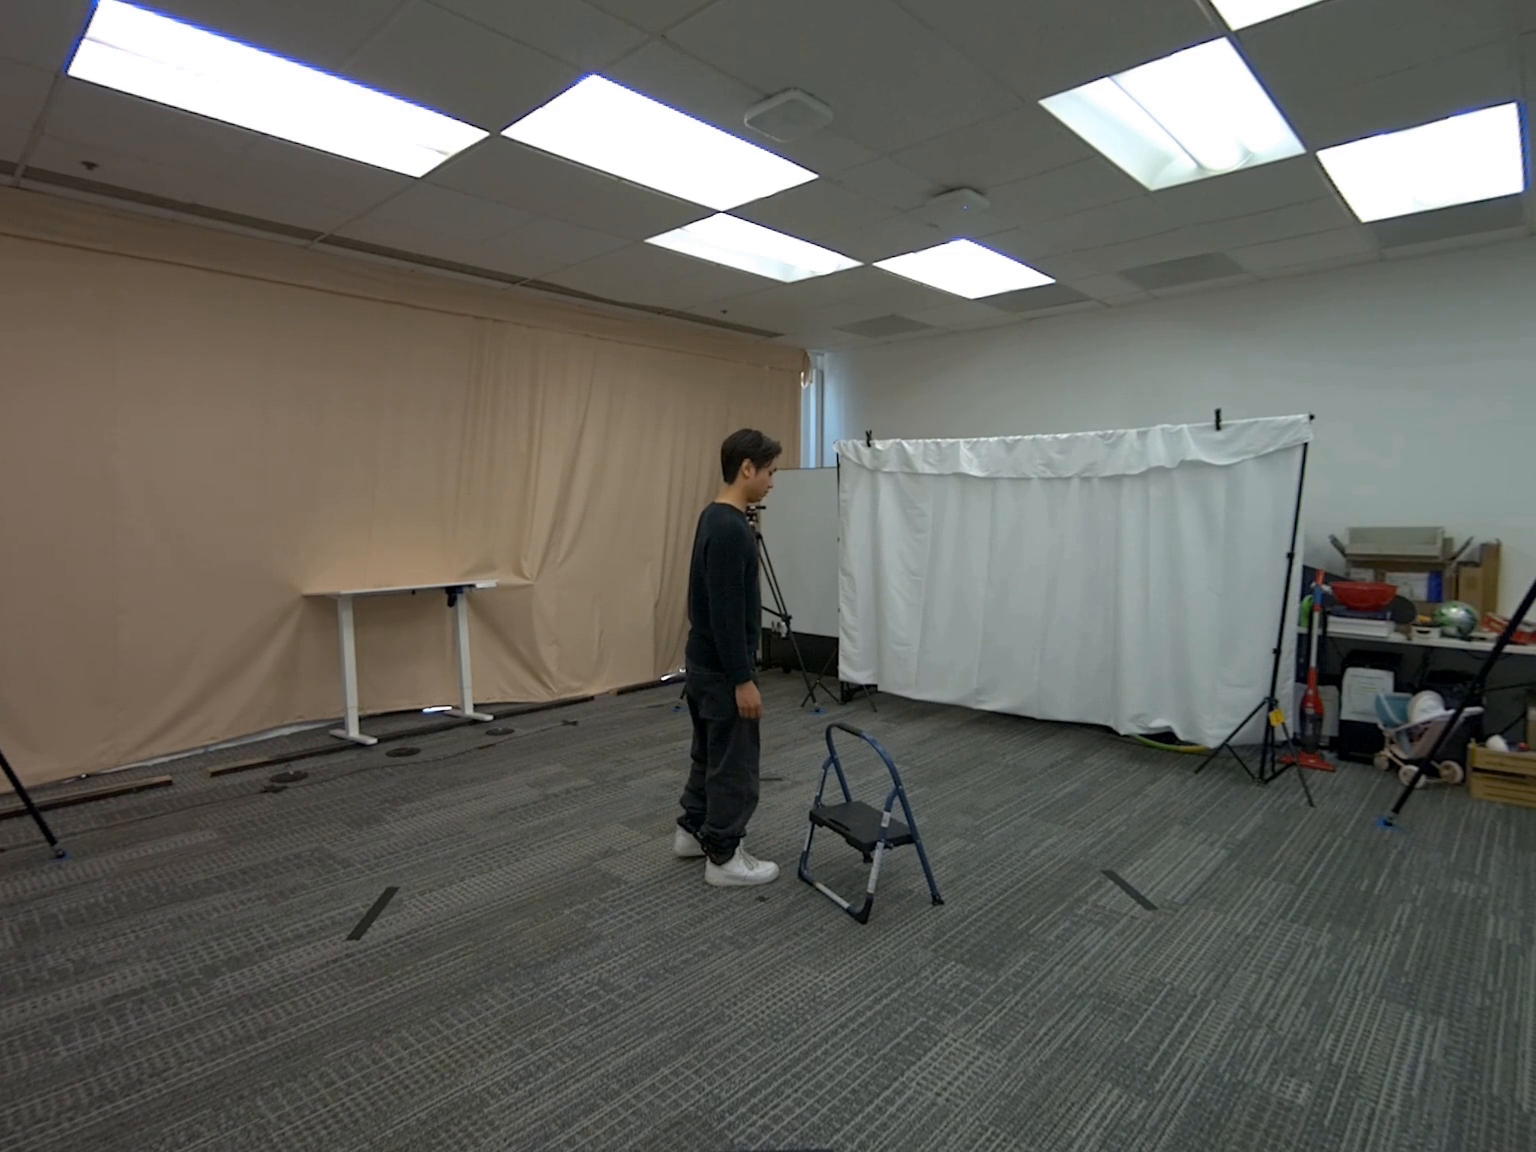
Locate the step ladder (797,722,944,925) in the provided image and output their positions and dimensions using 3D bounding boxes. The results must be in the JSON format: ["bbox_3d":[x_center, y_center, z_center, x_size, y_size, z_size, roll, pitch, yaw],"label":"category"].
[{"bbox_3d":[0.367,0.835,3.035,0.340,0.605,0.443,-2,4,-30],"label":"step ladder"}]
